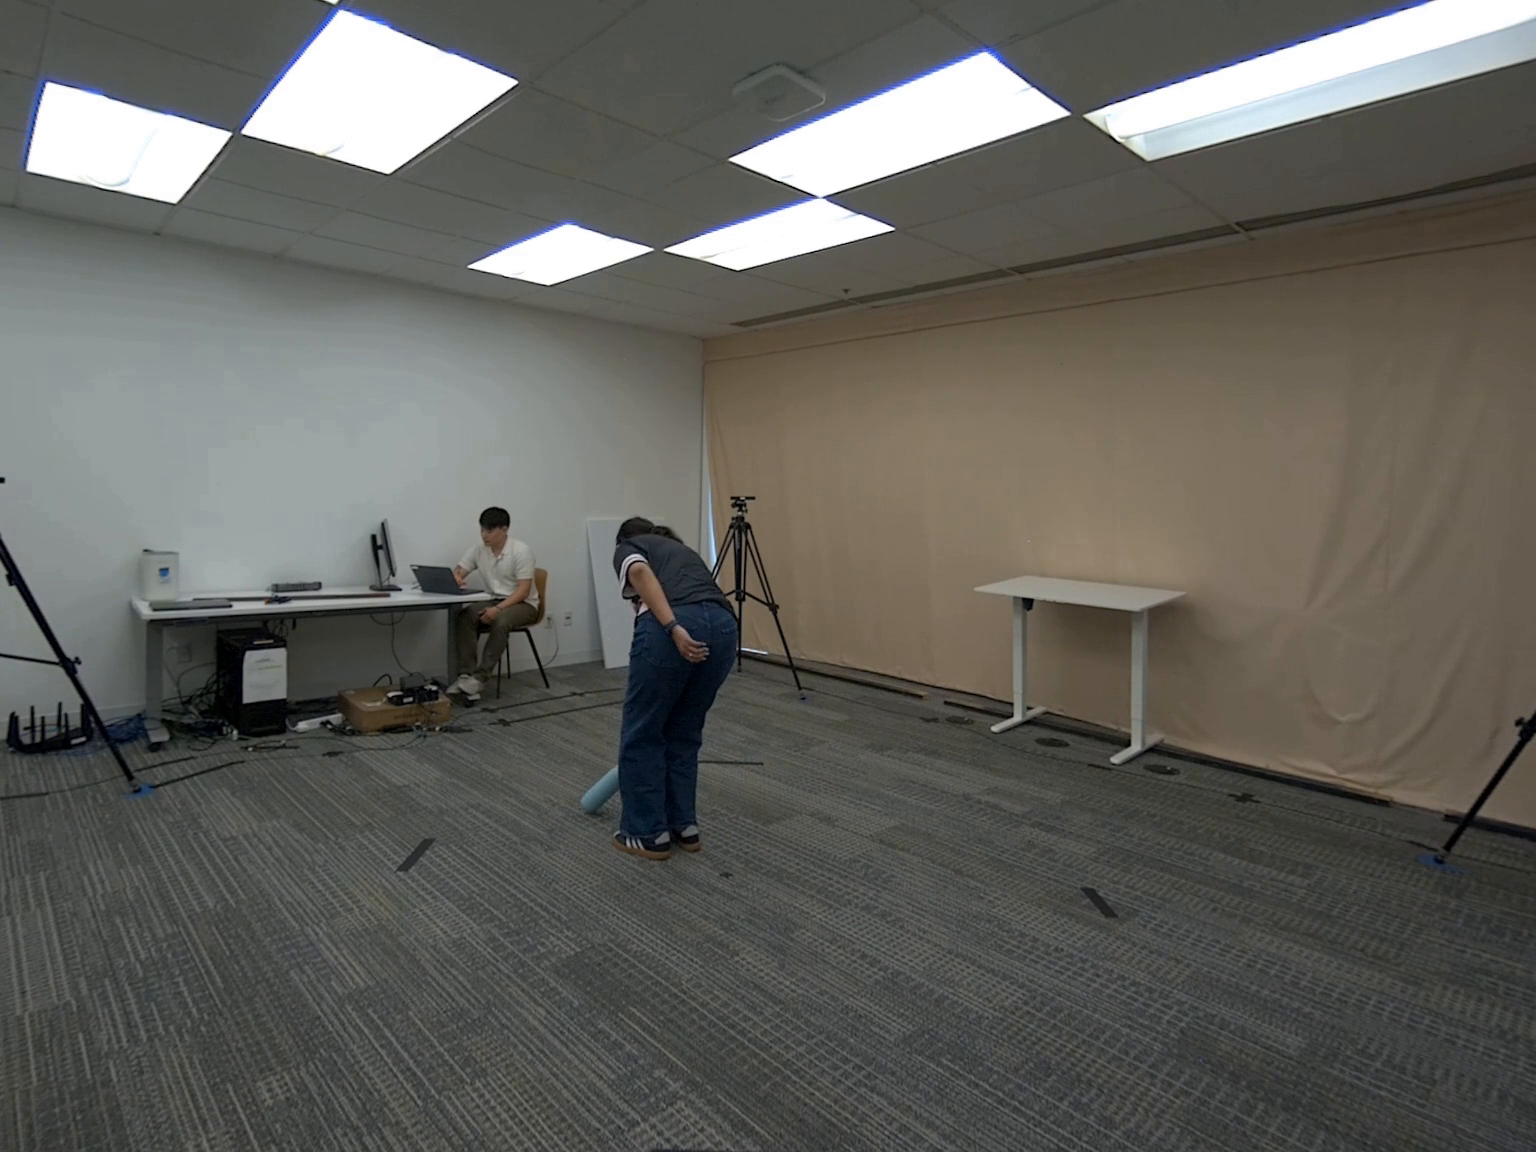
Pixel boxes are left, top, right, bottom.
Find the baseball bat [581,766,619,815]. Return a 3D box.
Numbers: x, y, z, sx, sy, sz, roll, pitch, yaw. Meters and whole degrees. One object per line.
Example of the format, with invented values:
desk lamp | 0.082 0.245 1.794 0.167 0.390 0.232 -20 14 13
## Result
baseball bat | -0.607 0.821 3.636 0.088 0.543 0.090 45 9 -10
